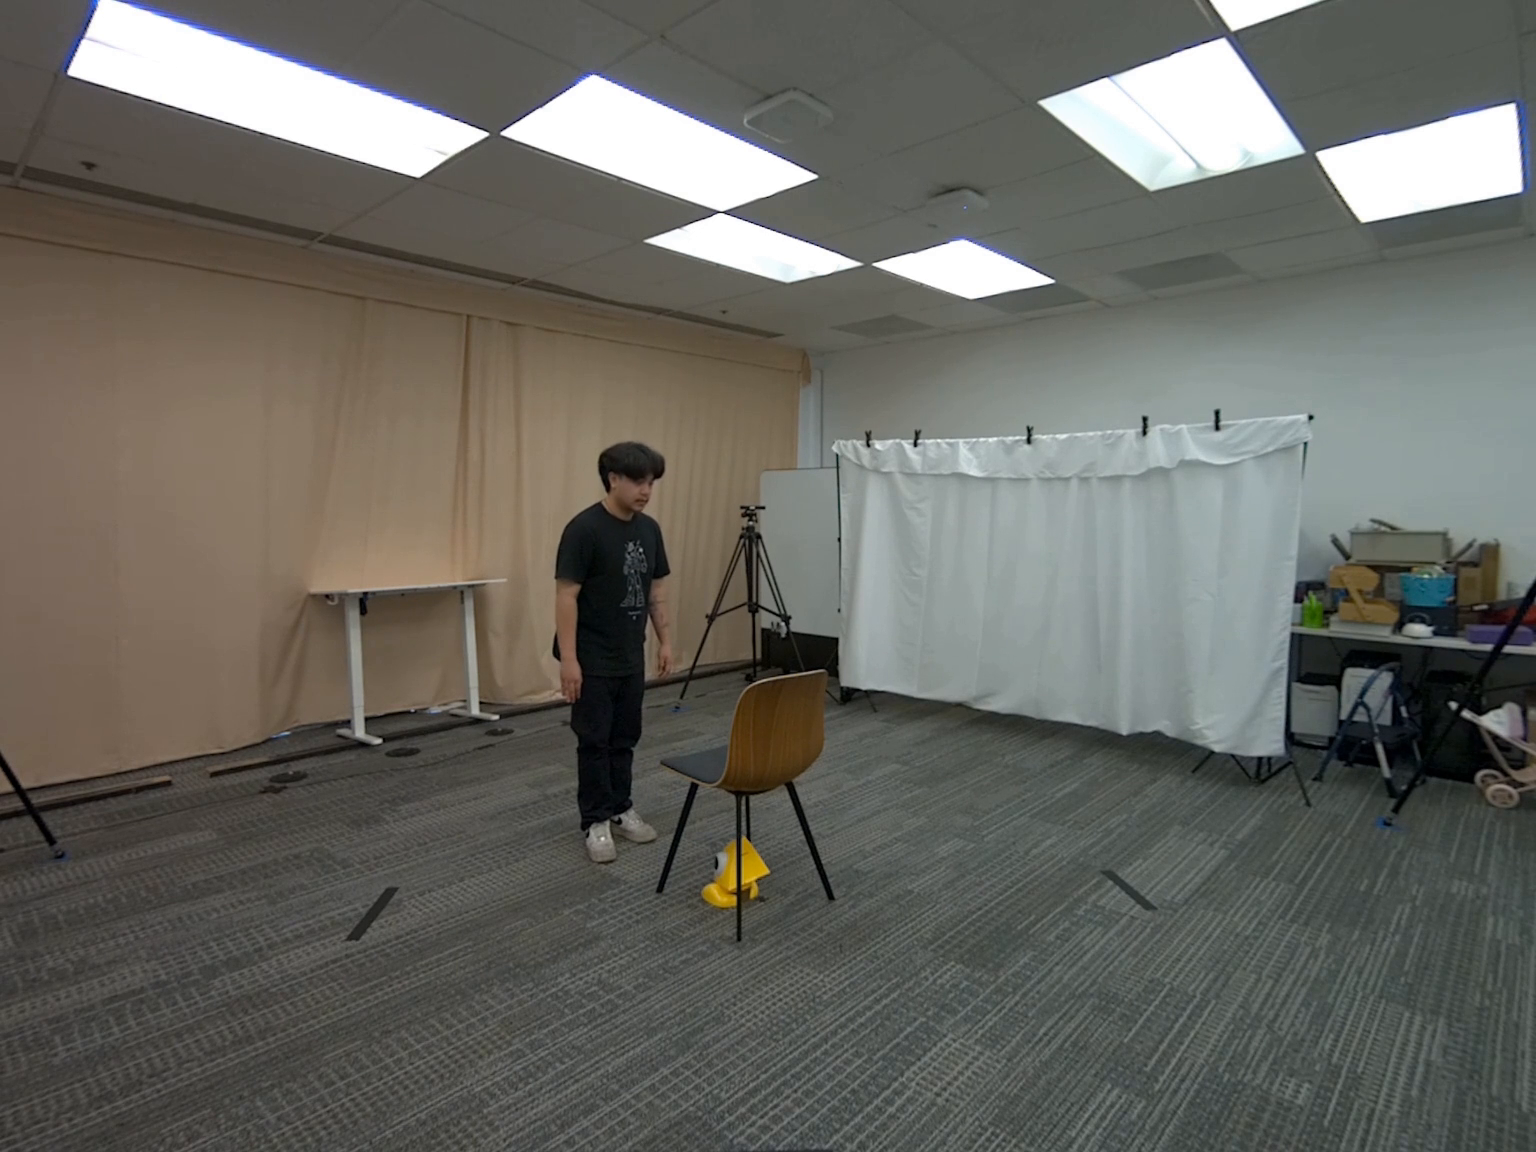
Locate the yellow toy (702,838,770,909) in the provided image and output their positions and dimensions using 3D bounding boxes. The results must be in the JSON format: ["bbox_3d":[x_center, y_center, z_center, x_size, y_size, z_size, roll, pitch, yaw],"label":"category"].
[{"bbox_3d":[-0.128,1.031,3.009,0.199,0.230,0.198,2,4,45],"label":"yellow toy"}]
